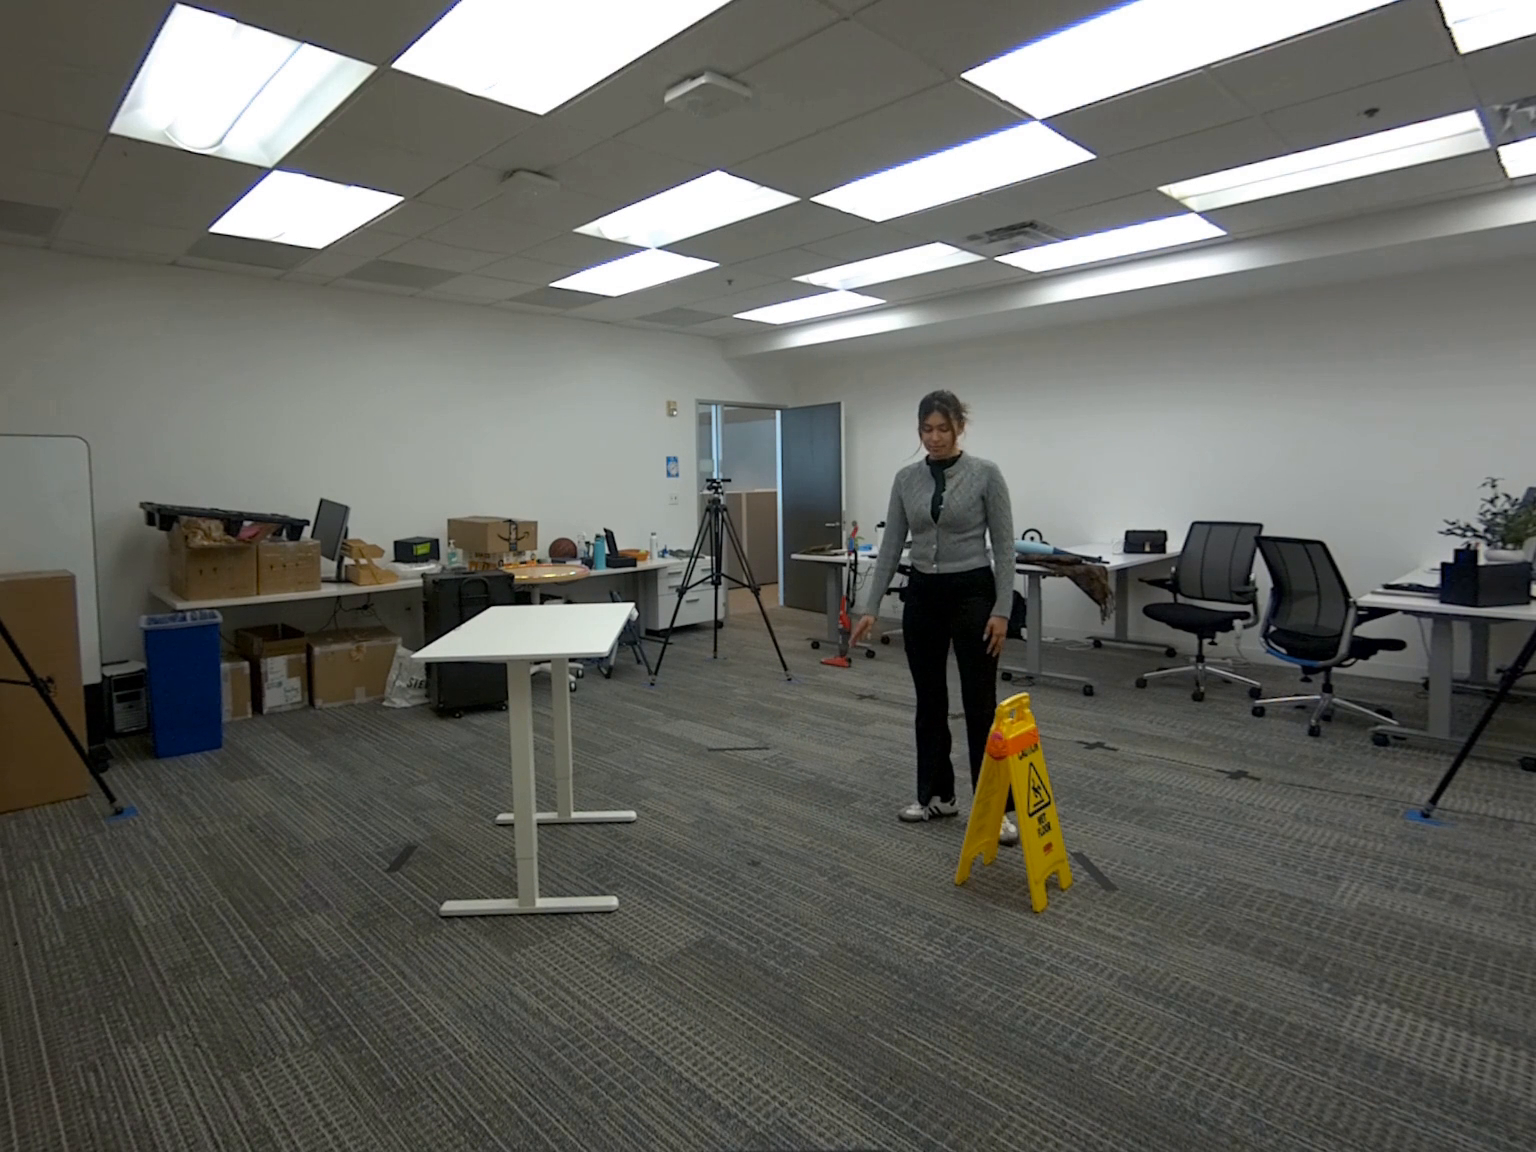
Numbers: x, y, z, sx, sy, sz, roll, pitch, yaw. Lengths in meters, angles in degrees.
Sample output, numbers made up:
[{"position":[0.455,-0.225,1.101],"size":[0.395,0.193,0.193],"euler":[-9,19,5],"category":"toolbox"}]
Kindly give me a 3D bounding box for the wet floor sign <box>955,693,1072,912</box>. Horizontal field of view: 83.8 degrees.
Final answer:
[{"position":[0.837,0.737,2.890],"size":[0.299,0.643,0.275],"euler":[4,7,43],"category":"wet floor sign"}]
